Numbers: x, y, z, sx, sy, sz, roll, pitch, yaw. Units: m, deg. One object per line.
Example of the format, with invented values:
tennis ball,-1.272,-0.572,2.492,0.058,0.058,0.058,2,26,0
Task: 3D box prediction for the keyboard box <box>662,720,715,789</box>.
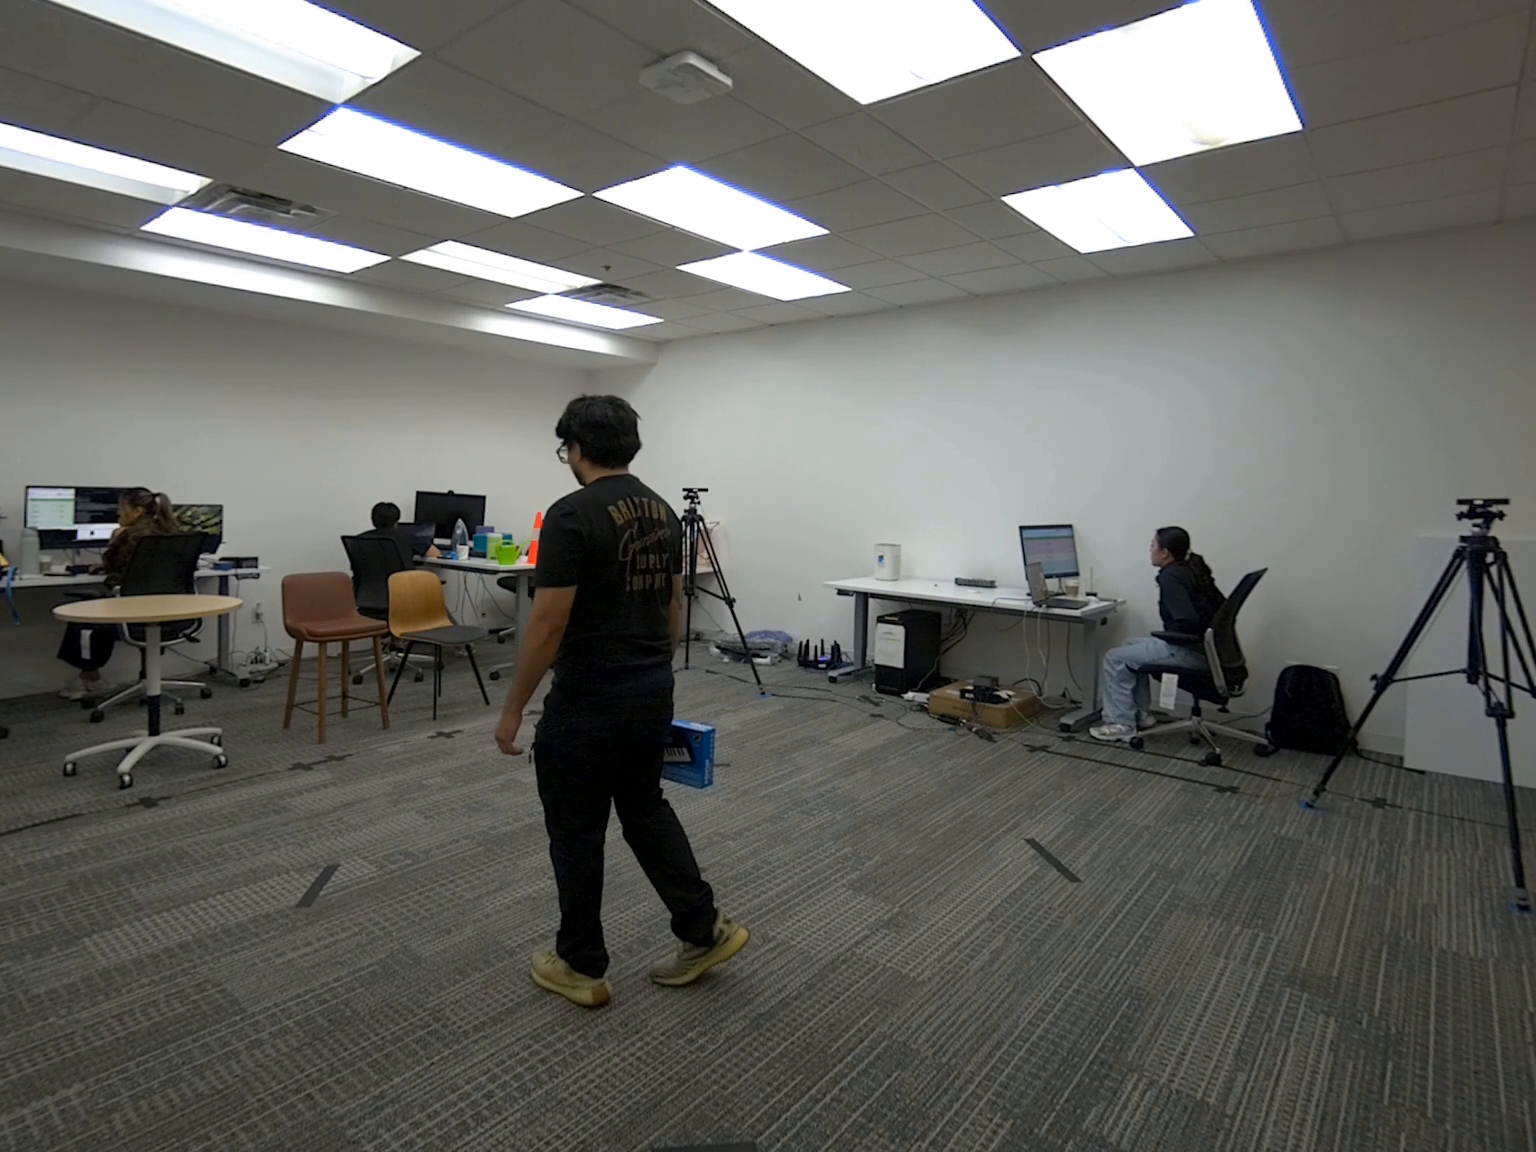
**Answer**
keyboard box,-0.365,0.519,2.622,0.451,0.176,0.057,5,2,34
